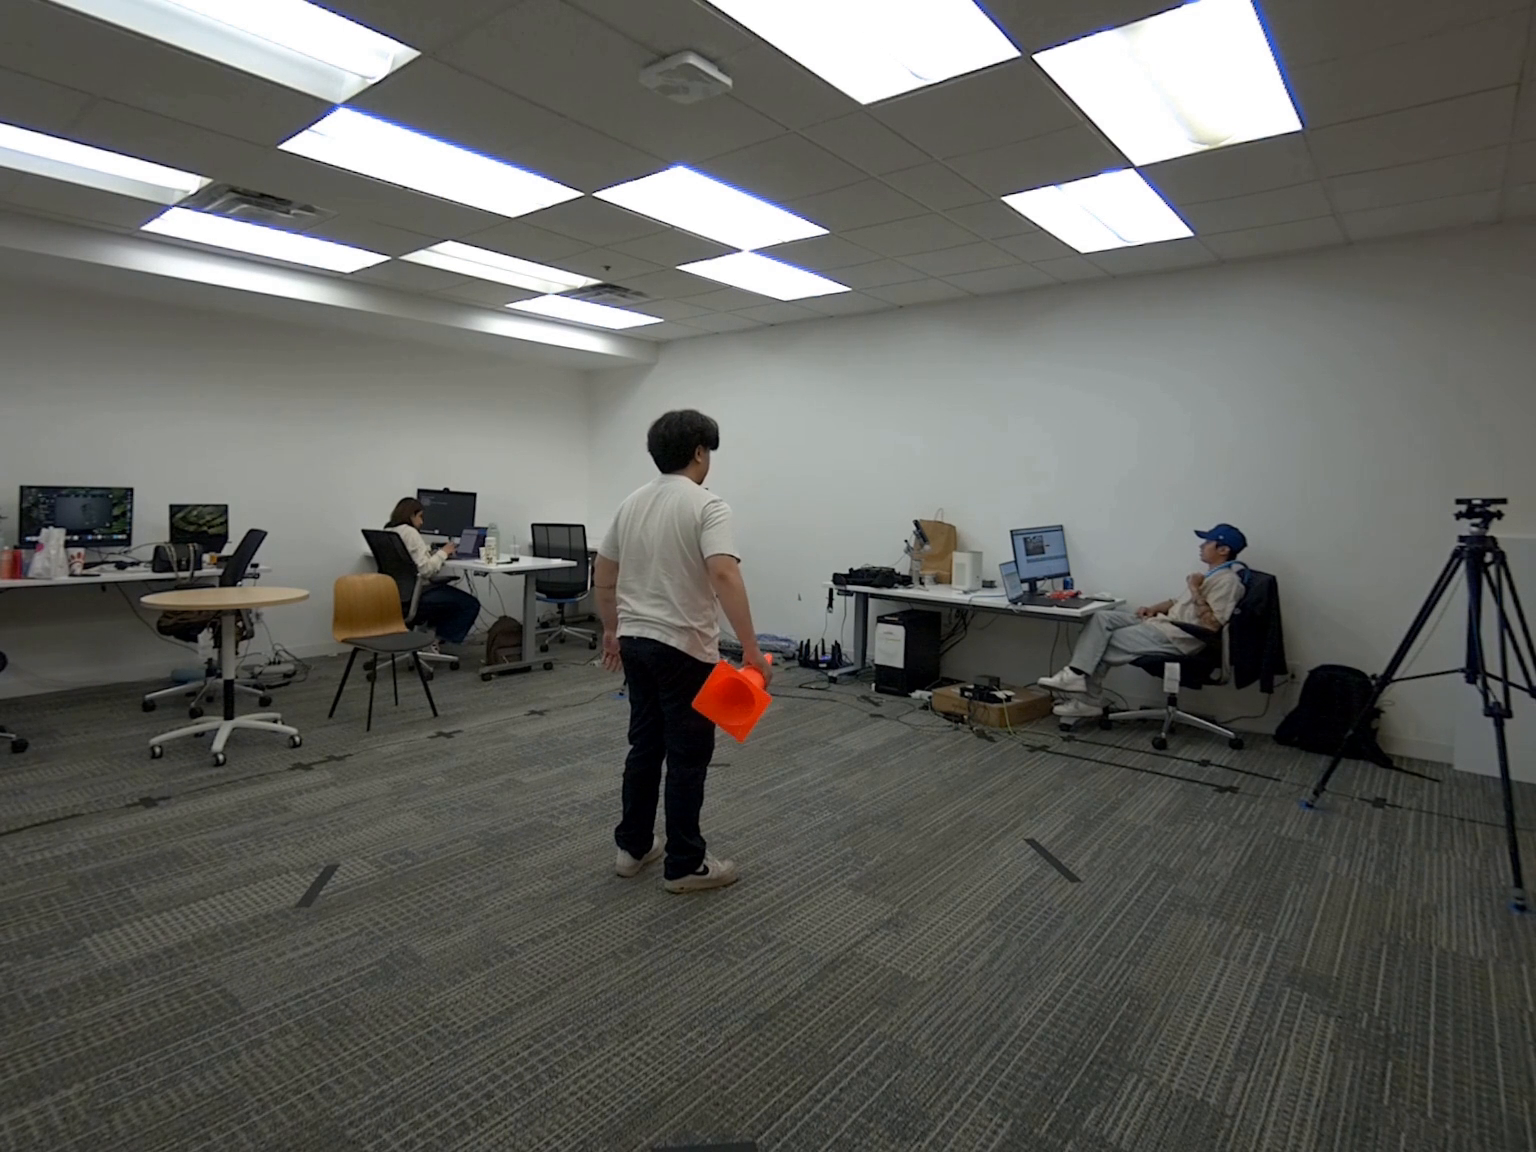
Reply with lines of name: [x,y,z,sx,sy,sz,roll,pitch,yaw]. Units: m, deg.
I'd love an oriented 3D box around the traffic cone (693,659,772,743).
traffic cone: [-0.067,0.334,2.794,0.206,0.204,0.381,38,23,6]
